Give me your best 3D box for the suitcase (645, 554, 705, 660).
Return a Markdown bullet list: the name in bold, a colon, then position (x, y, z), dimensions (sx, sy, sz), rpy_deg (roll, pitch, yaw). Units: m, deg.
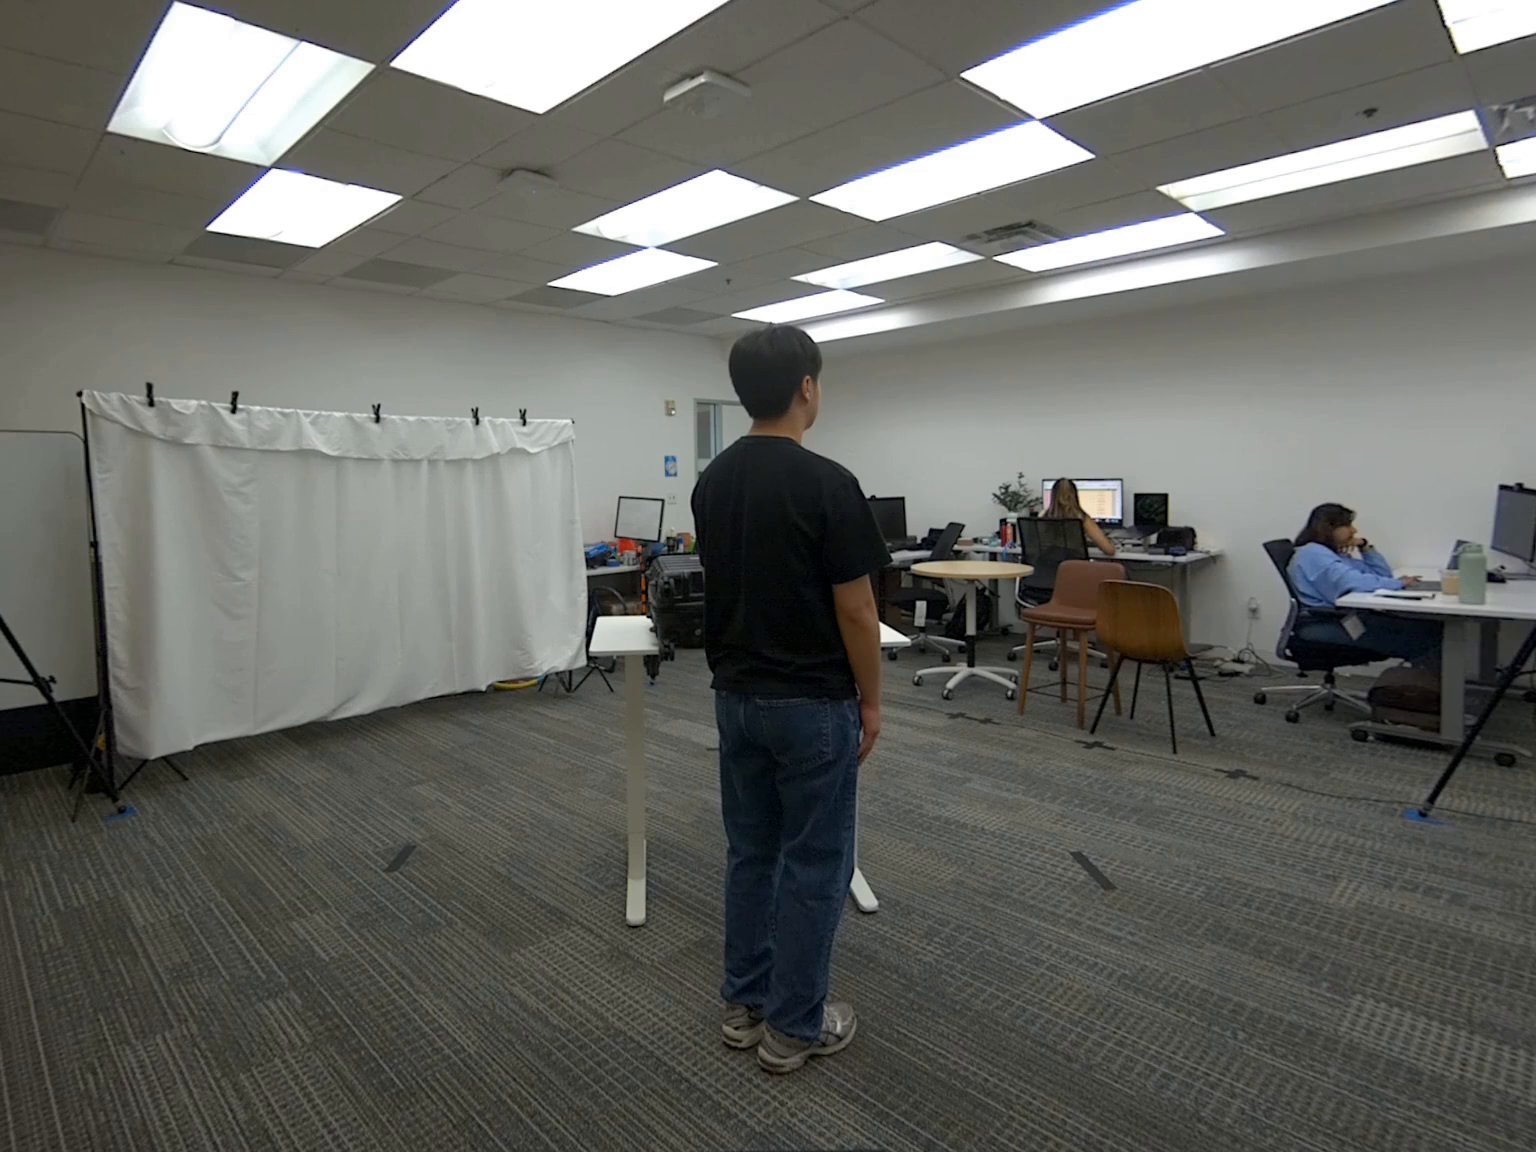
- **suitcase**: position (-0.241, 0.047, 2.996), dimensions (0.381, 0.255, 0.994), rpy_deg (-3, 9, -10)
